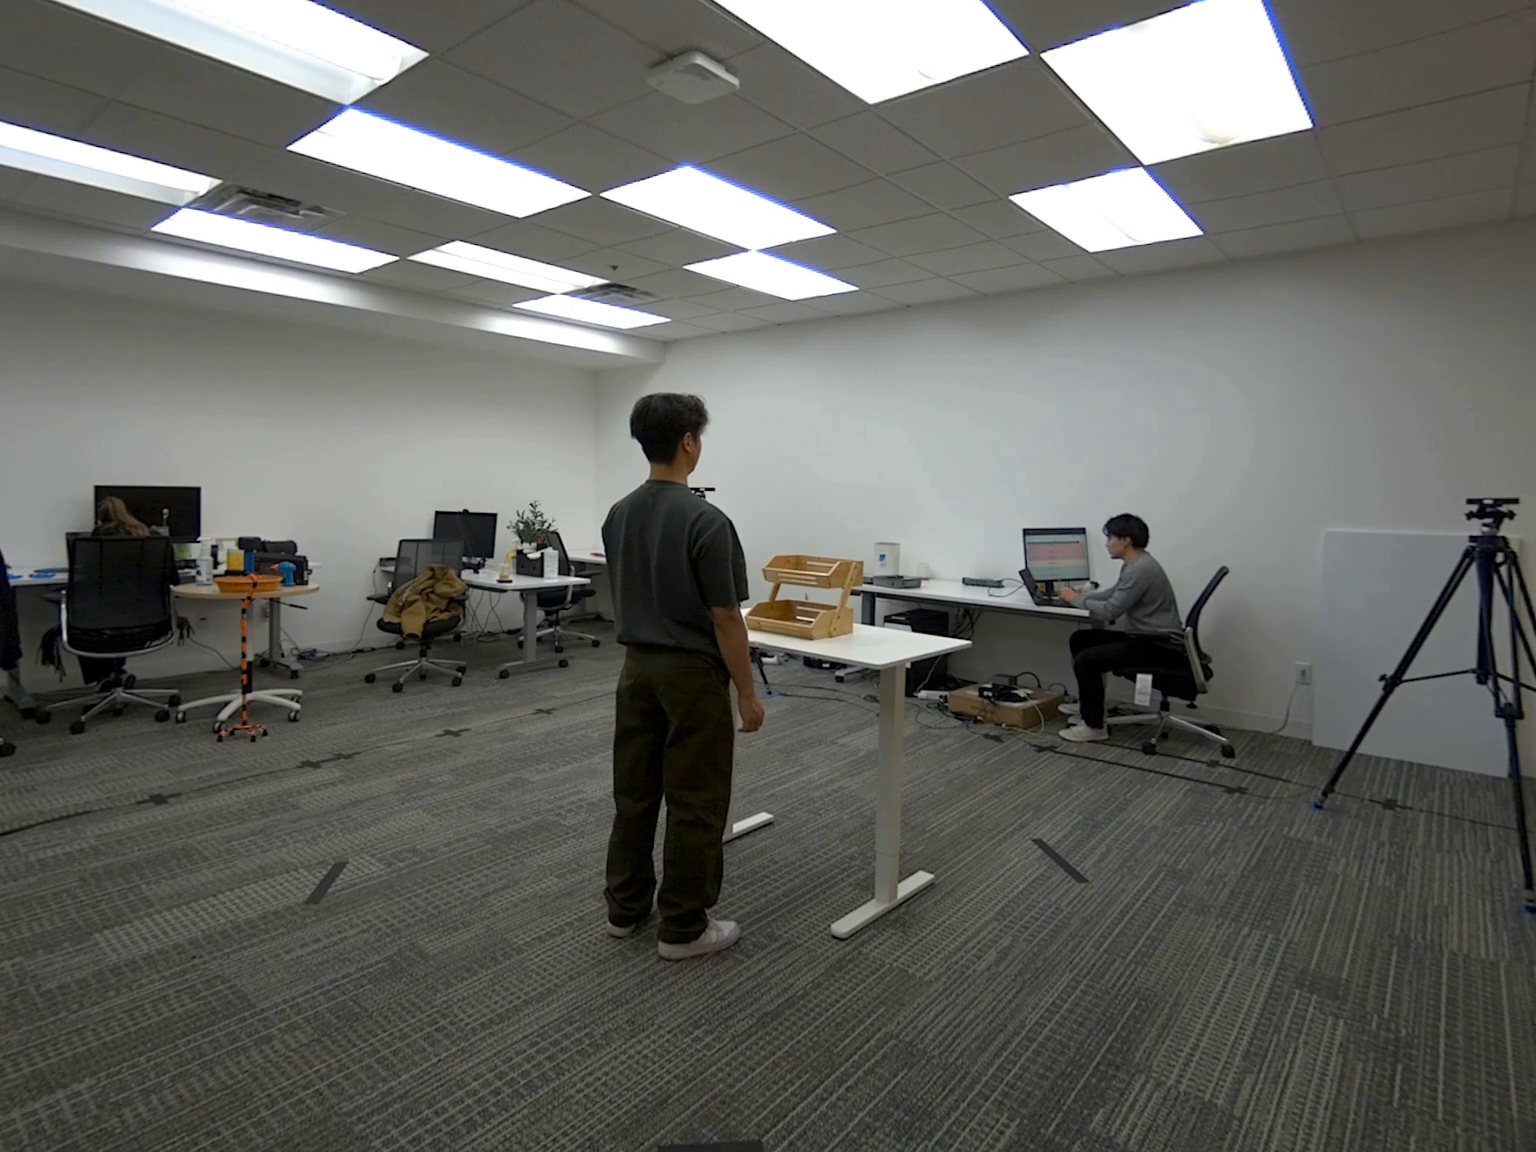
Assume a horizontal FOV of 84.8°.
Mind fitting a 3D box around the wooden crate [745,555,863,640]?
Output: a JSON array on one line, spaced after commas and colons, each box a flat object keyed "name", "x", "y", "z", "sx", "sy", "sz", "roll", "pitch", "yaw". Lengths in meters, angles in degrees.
[{"name": "wooden crate", "x": 0.120, "y": 0.064, "z": 3.069, "sx": 0.336, "sy": 0.272, "sz": 0.293, "roll": 6, "pitch": 6, "yaw": 41}]
